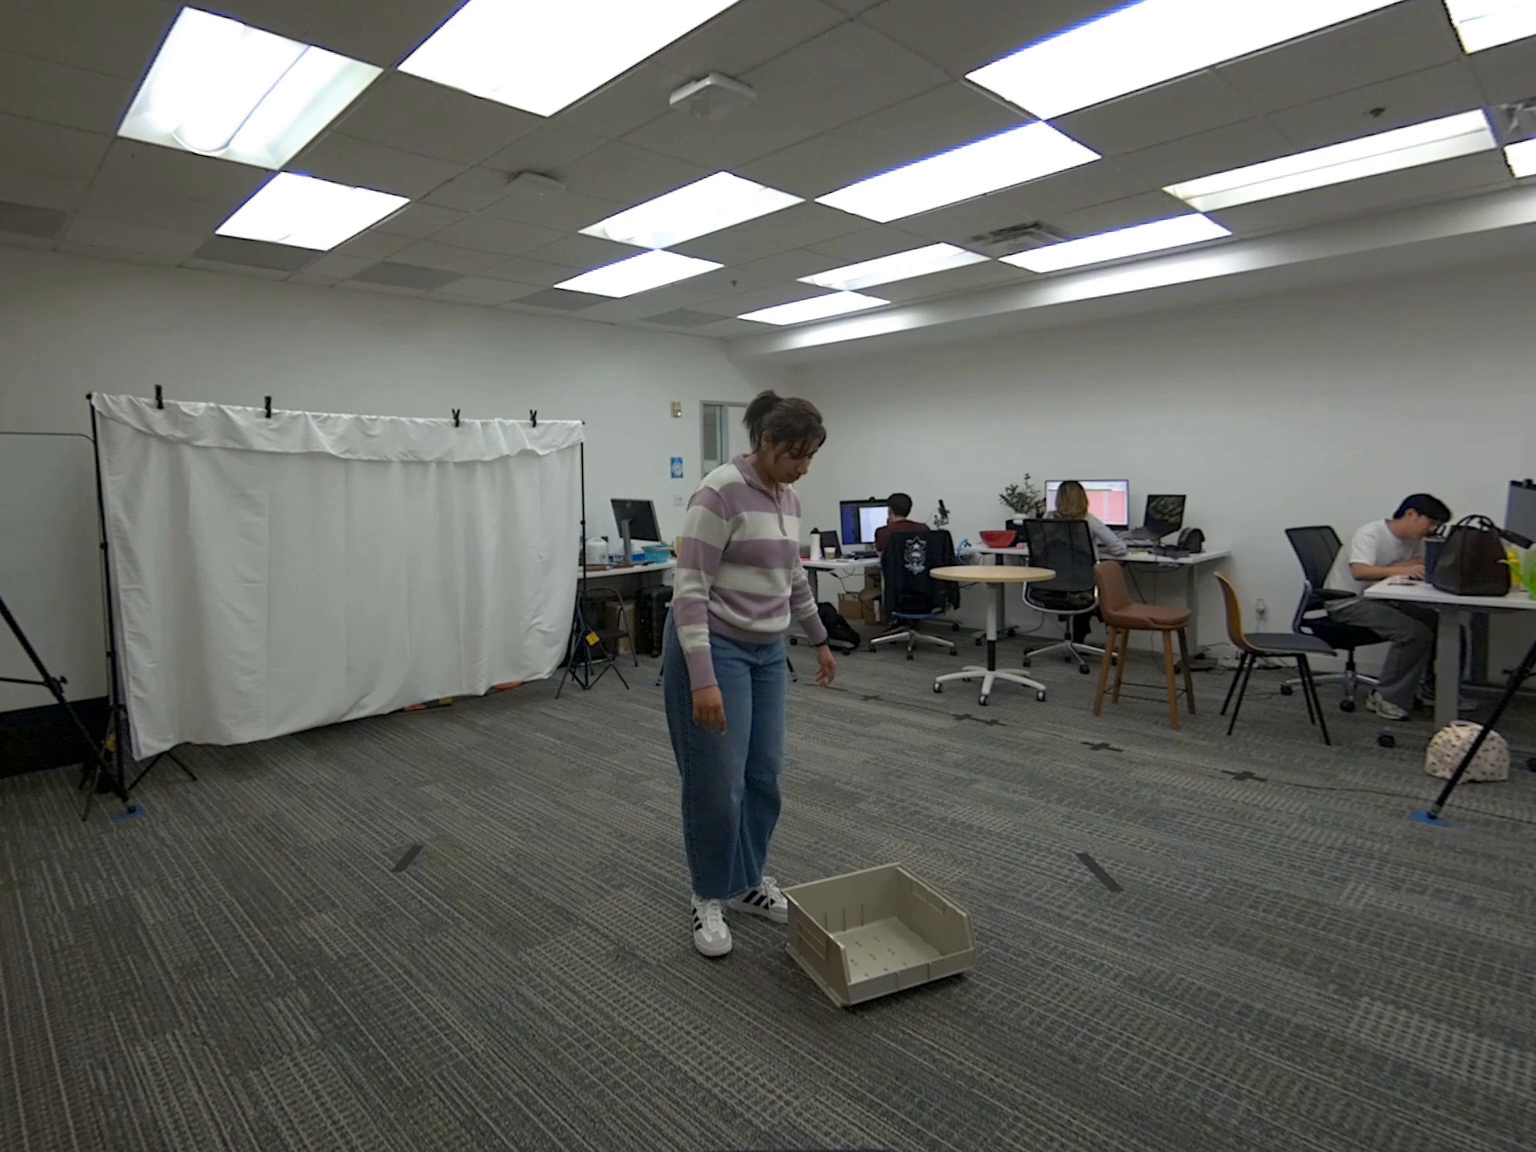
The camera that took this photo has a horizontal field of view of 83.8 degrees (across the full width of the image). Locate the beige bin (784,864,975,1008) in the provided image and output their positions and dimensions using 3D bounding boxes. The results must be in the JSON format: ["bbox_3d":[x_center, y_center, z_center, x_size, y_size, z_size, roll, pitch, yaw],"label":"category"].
[{"bbox_3d":[0.313,1.027,2.452,0.414,0.188,0.387,-4,6,-25],"label":"beige bin"}]
